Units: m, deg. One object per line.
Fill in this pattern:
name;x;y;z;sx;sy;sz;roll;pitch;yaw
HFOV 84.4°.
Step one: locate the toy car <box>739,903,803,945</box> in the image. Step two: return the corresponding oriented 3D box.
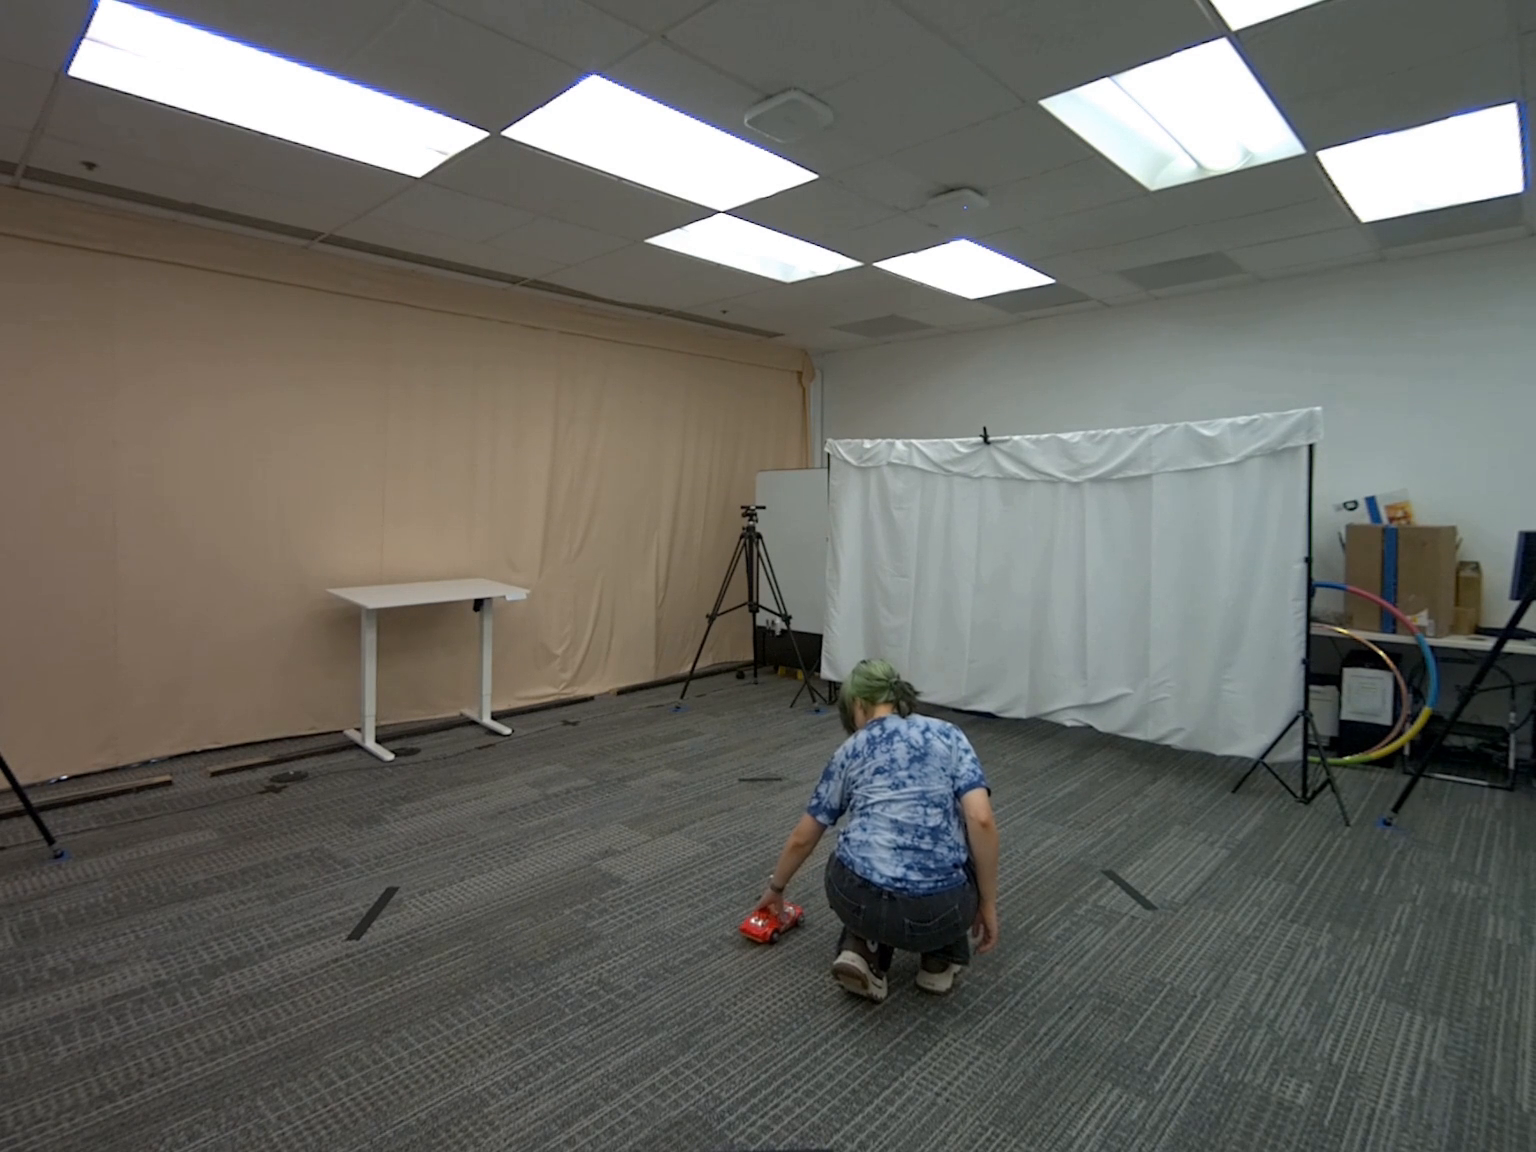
toy car;0.011;1.135;2.750;0.134;0.083;0.246;4;-4;40
